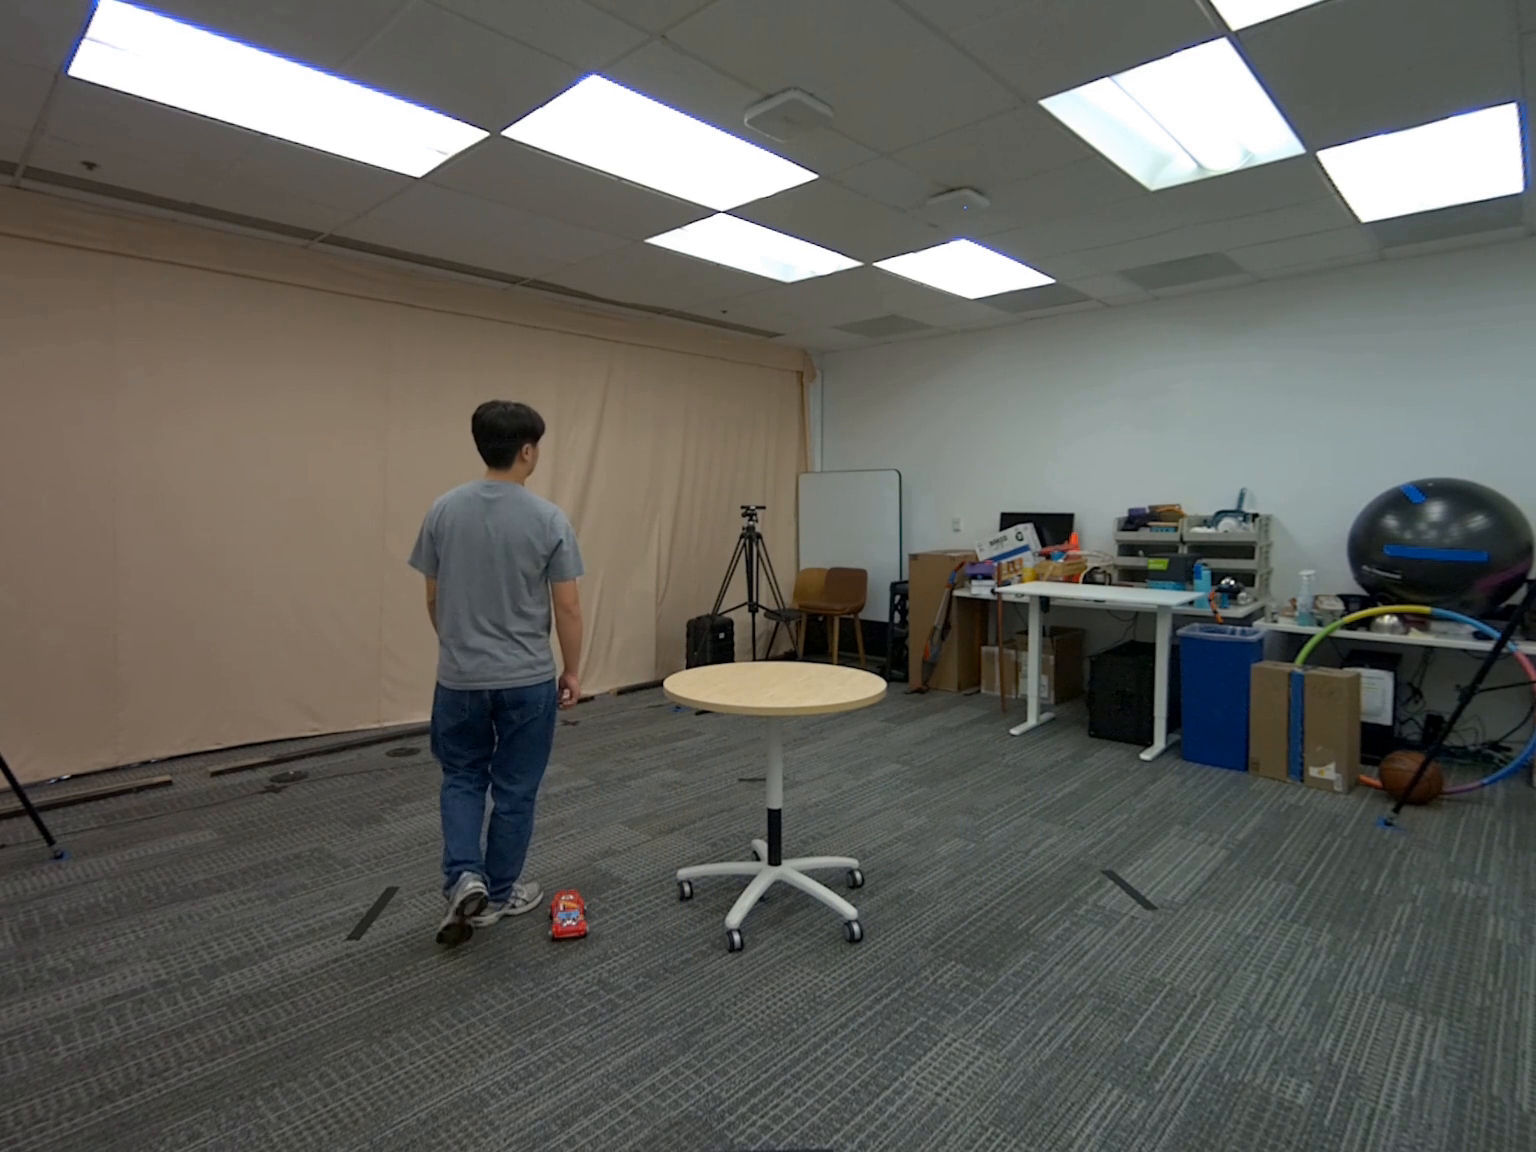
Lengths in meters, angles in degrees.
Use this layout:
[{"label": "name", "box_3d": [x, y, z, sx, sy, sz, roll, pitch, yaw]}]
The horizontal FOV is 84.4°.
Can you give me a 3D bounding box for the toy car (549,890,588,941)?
[{"label": "toy car", "box_3d": [-0.670, 1.135, 2.801, 0.128, 0.082, 0.260, -1, 16, -14]}]
